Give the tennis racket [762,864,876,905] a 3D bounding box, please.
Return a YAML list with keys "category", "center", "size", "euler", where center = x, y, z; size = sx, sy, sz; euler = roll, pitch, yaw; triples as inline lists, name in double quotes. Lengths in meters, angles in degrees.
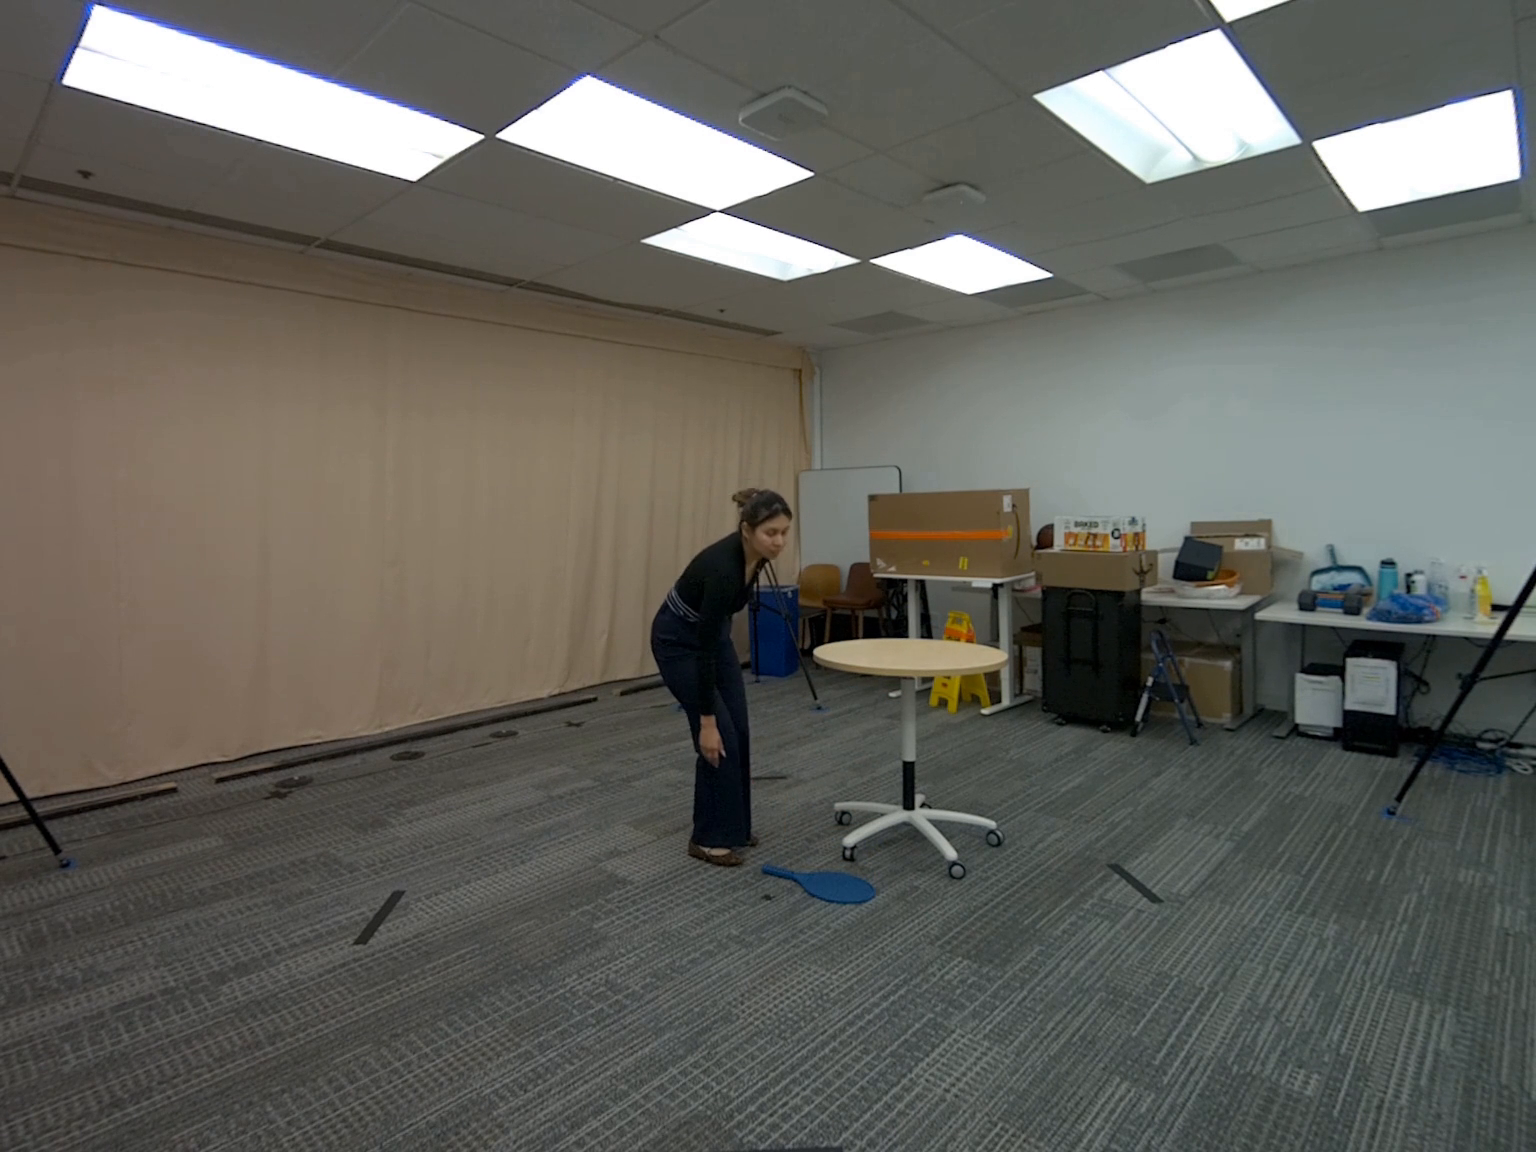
- category: "tennis racket"
  center: [0.182, 1.112, 3.073]
  size: [0.445, 0.031, 0.208]
  euler: [3, 6, 27]
